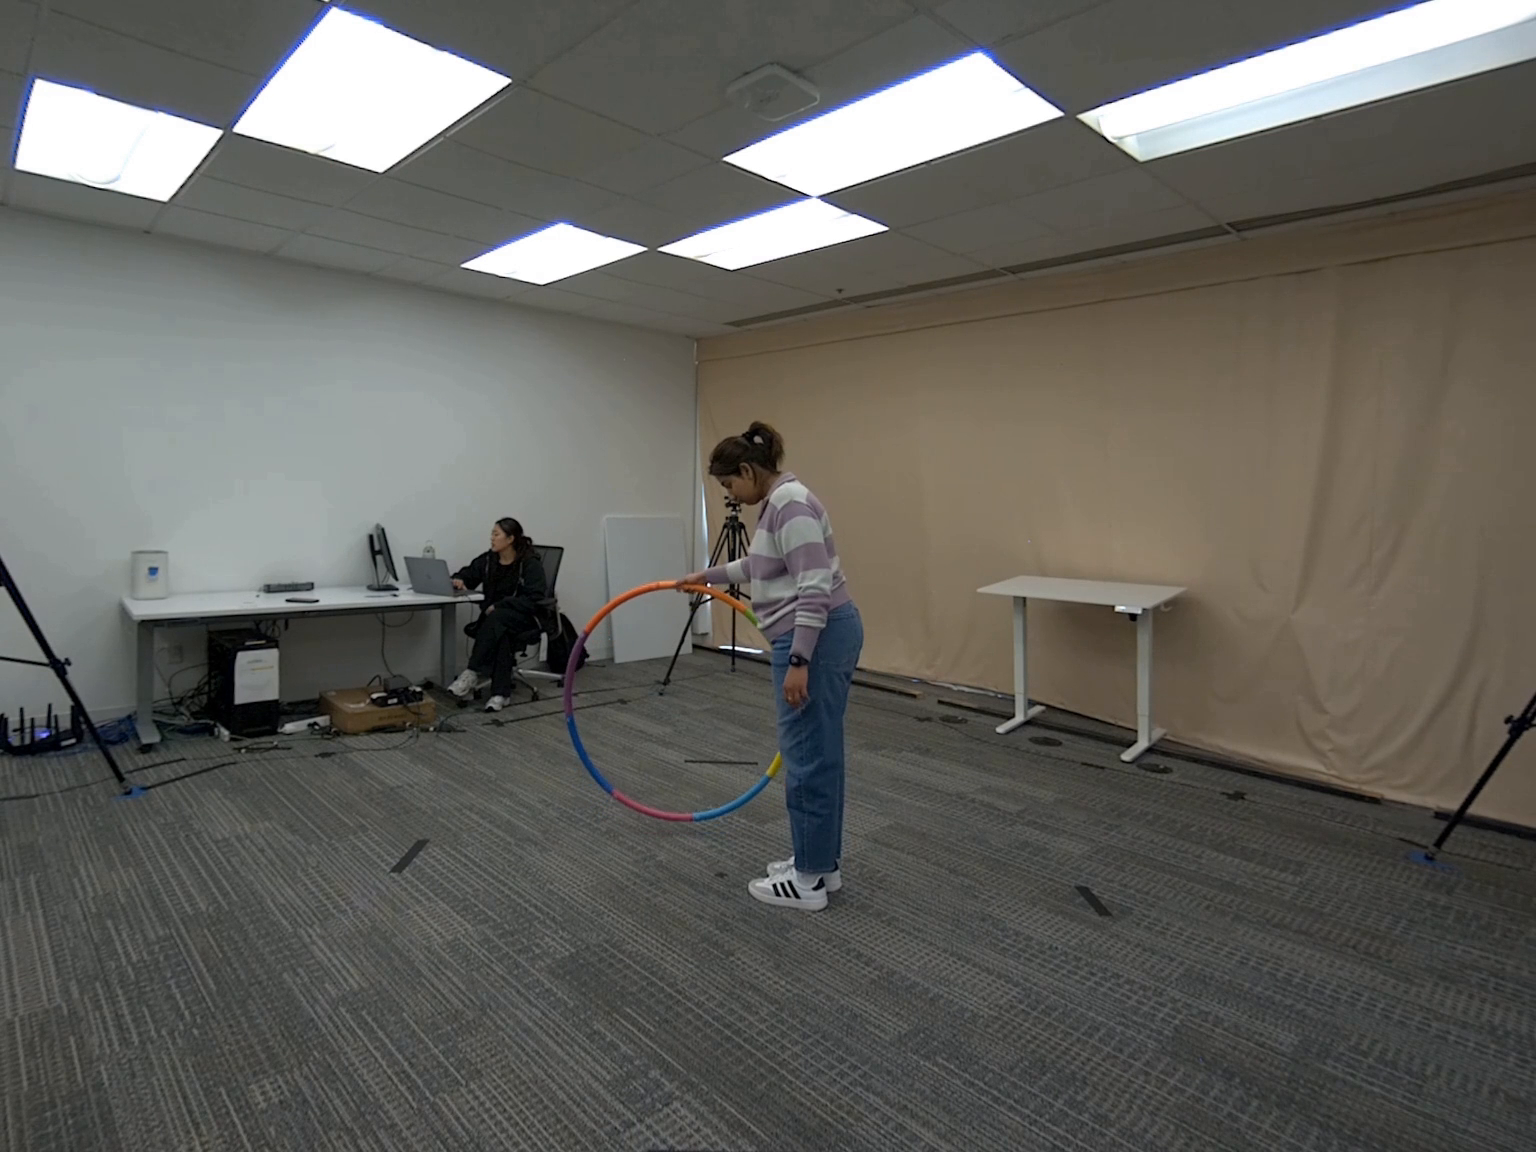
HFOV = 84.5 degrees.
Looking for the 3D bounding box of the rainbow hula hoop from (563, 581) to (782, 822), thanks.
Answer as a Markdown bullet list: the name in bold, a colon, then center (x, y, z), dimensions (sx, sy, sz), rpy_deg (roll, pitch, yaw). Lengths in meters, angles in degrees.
- **rainbow hula hoop**: center (-0.386, 0.529, 3.470), dimensions (0.986, 0.976, 0.035), rpy_deg (2, 3, 10)
